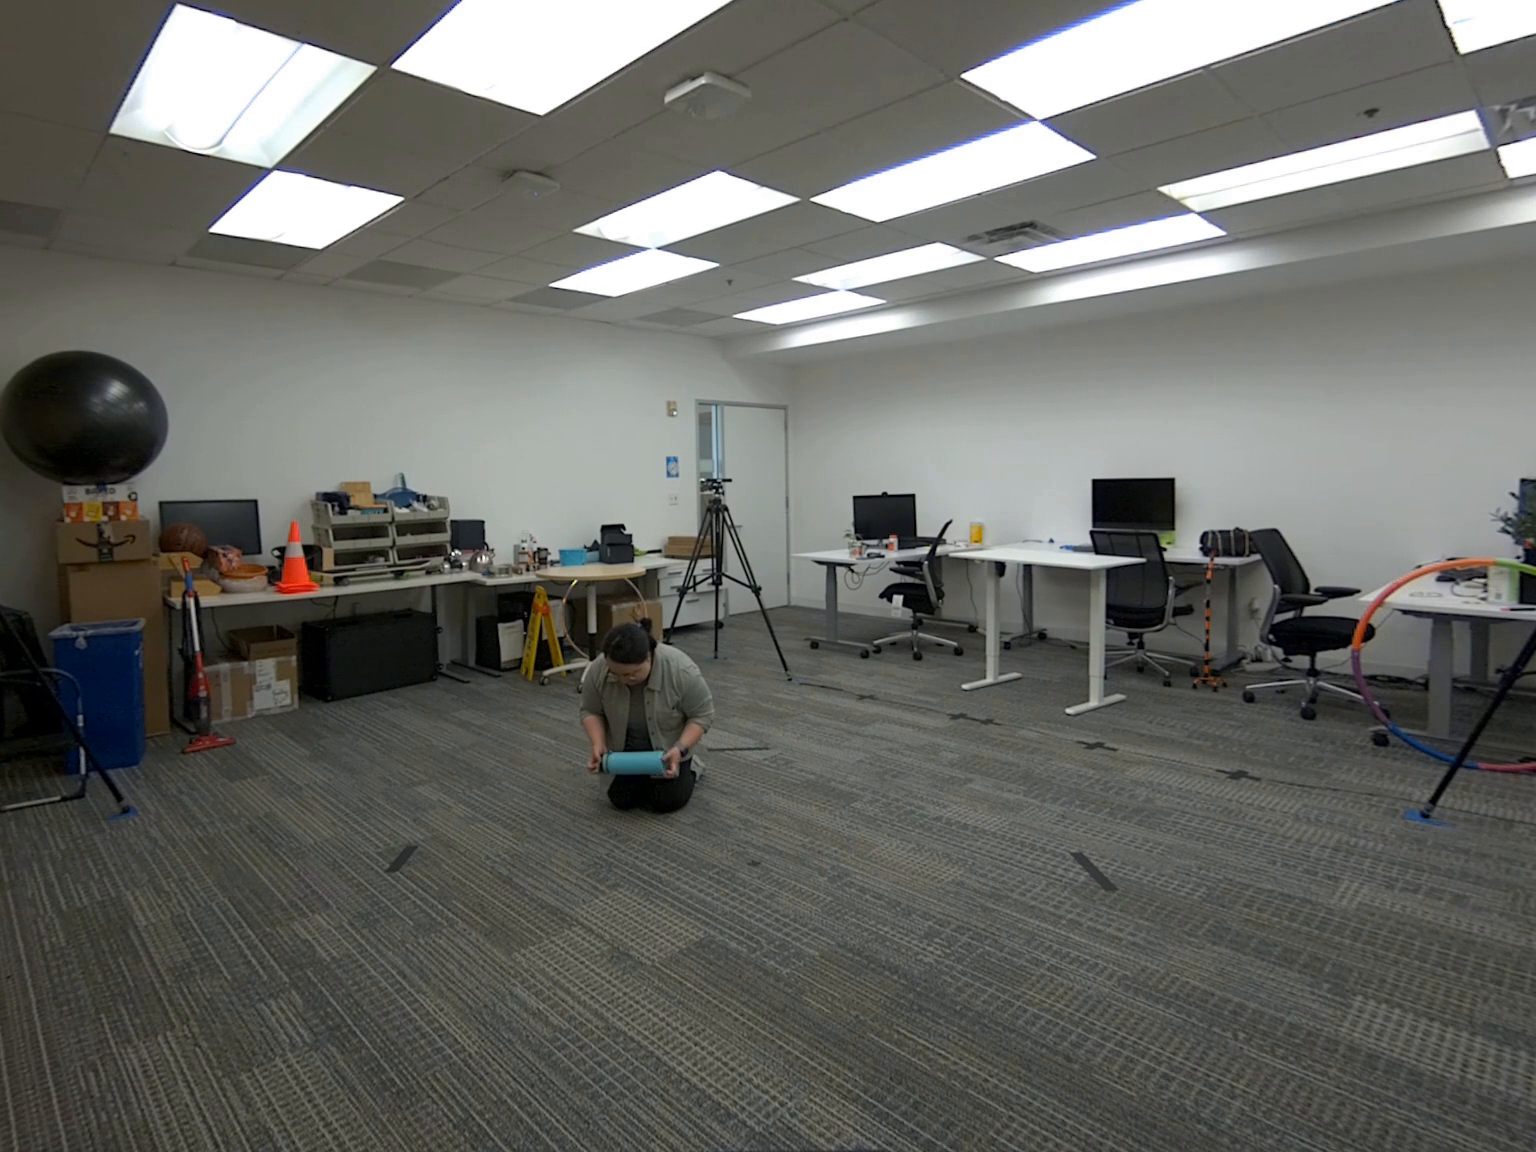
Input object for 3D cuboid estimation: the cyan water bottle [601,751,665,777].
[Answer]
[{"bbox_3d":[-0.562,0.785,3.492,0.285,0.092,0.092,-1,5,7],"label":"cyan water bottle"}]
